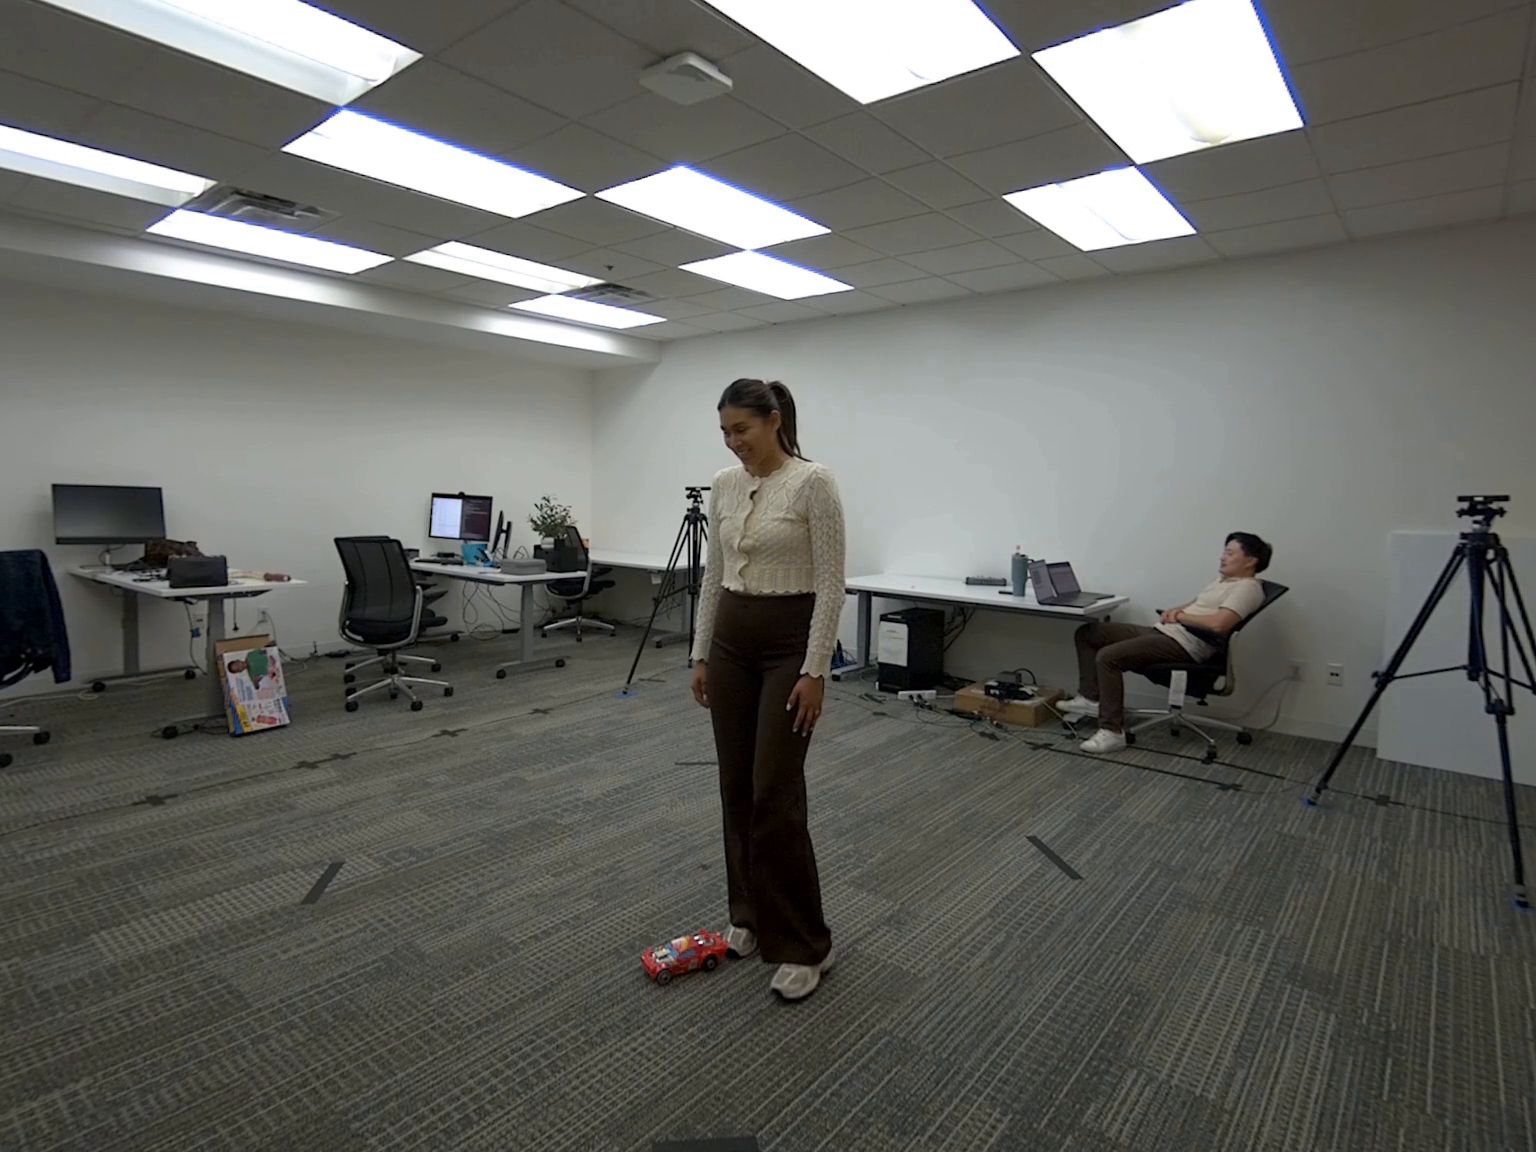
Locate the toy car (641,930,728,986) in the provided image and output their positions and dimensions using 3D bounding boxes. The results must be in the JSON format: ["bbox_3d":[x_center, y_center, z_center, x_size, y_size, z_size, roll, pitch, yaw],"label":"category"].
[{"bbox_3d":[-0.240,1.097,2.464,0.250,0.082,0.134,-14,13,-27],"label":"toy car"}]
